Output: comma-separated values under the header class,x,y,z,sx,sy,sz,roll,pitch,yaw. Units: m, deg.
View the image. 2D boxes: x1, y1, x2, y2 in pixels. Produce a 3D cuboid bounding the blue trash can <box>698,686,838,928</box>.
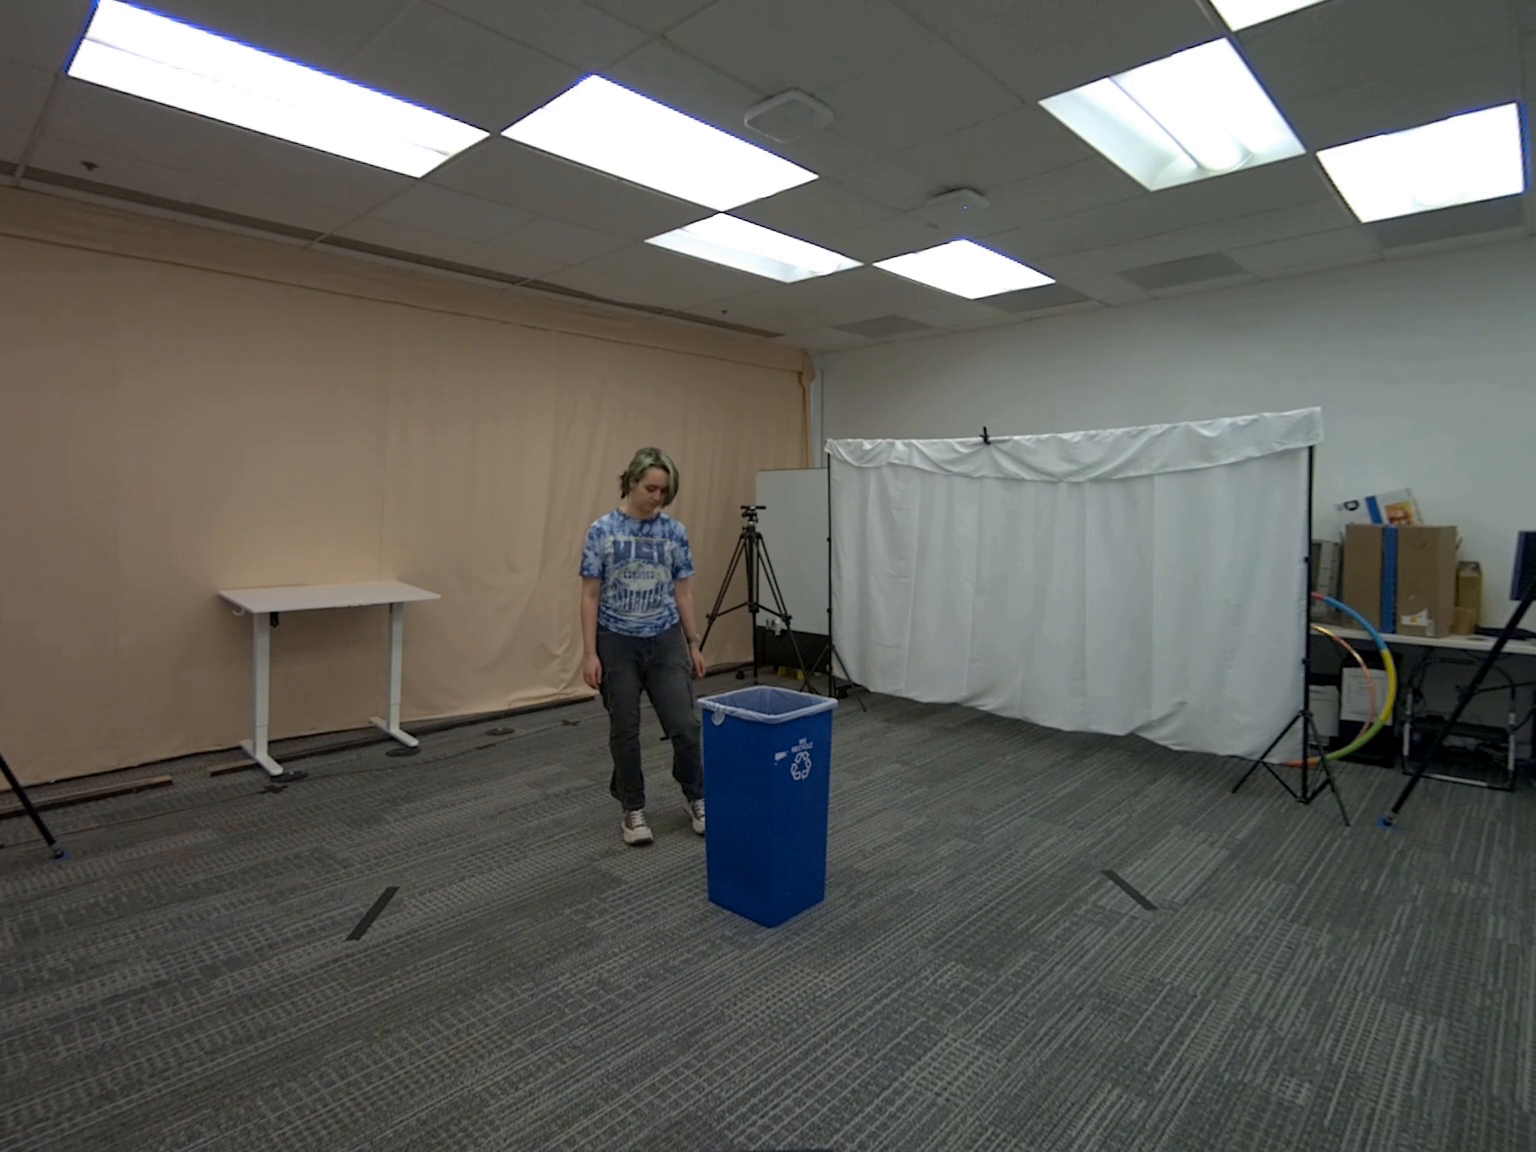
class,x,y,z,sx,sy,sz,roll,pitch,yaw
blue trash can,0.003,0.788,2.963,0.391,0.712,0.362,3,5,43
